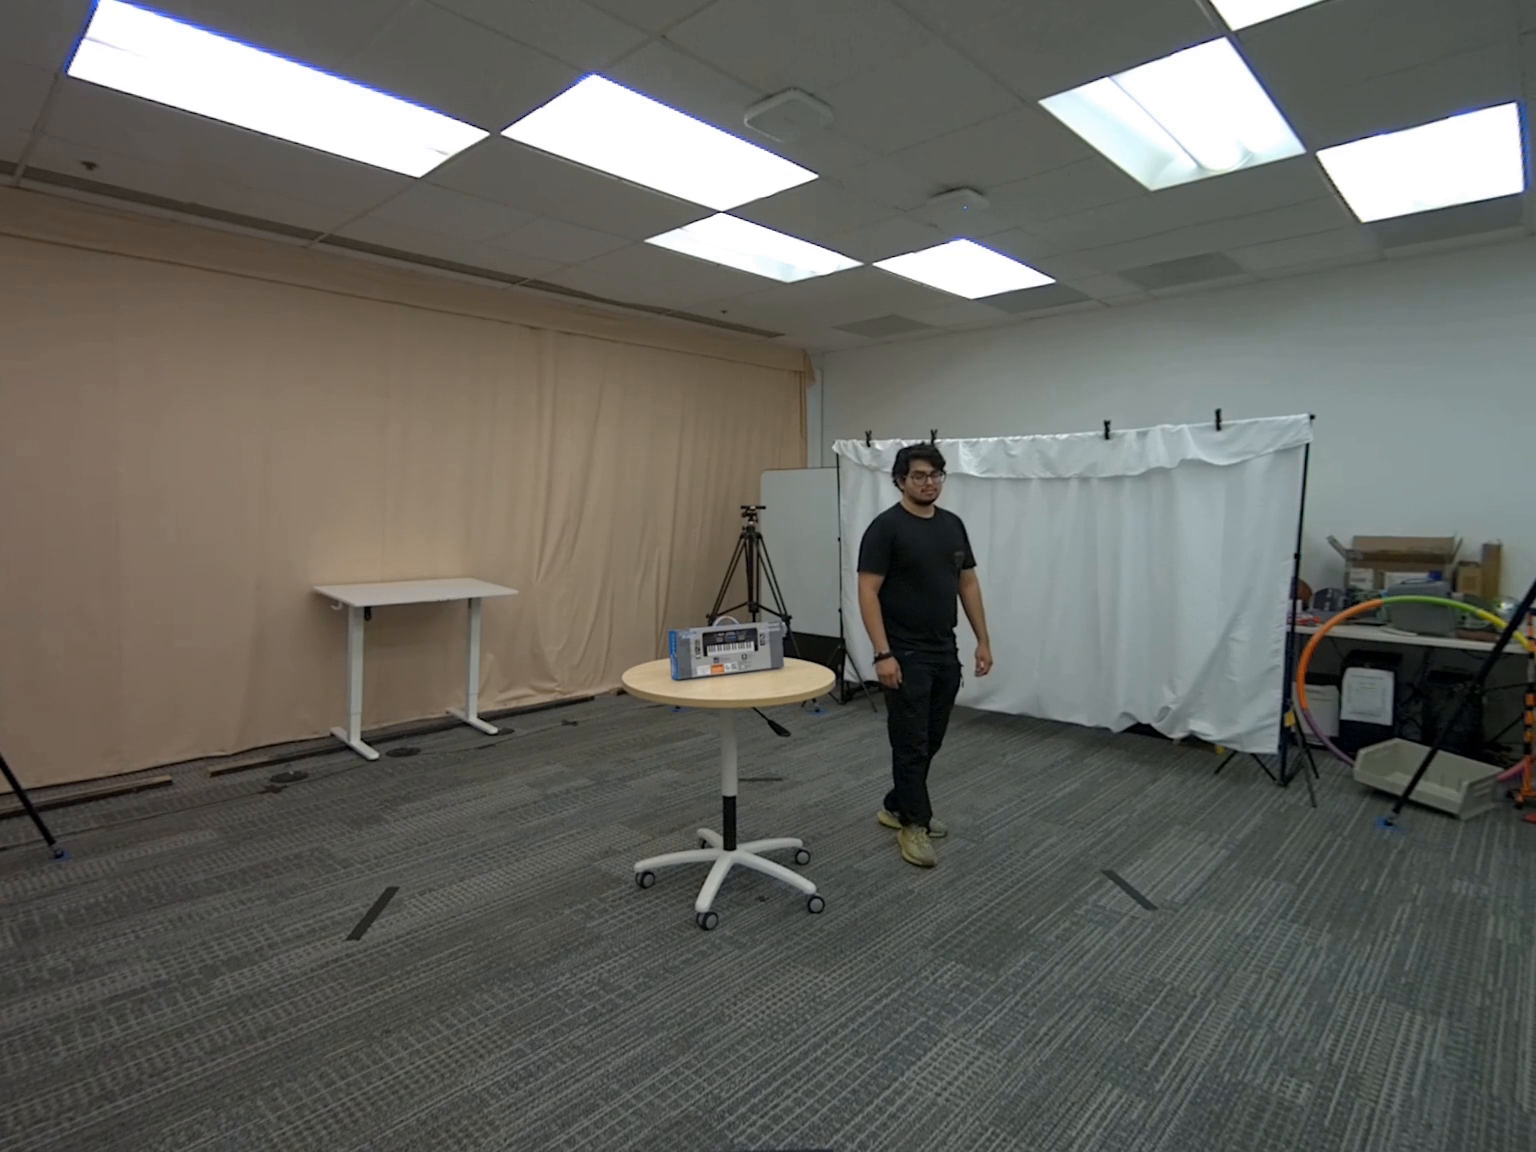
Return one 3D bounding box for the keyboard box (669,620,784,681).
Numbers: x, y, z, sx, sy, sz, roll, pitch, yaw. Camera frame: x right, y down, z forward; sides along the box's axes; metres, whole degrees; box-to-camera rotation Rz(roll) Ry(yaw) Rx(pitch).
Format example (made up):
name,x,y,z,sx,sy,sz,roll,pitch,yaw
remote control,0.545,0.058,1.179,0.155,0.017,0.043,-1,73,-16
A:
name,x,y,z,sx,sy,sz,roll,pitch,yaw
keyboard box,-0.144,0.268,3.055,0.426,0.176,0.060,-3,-1,-27
